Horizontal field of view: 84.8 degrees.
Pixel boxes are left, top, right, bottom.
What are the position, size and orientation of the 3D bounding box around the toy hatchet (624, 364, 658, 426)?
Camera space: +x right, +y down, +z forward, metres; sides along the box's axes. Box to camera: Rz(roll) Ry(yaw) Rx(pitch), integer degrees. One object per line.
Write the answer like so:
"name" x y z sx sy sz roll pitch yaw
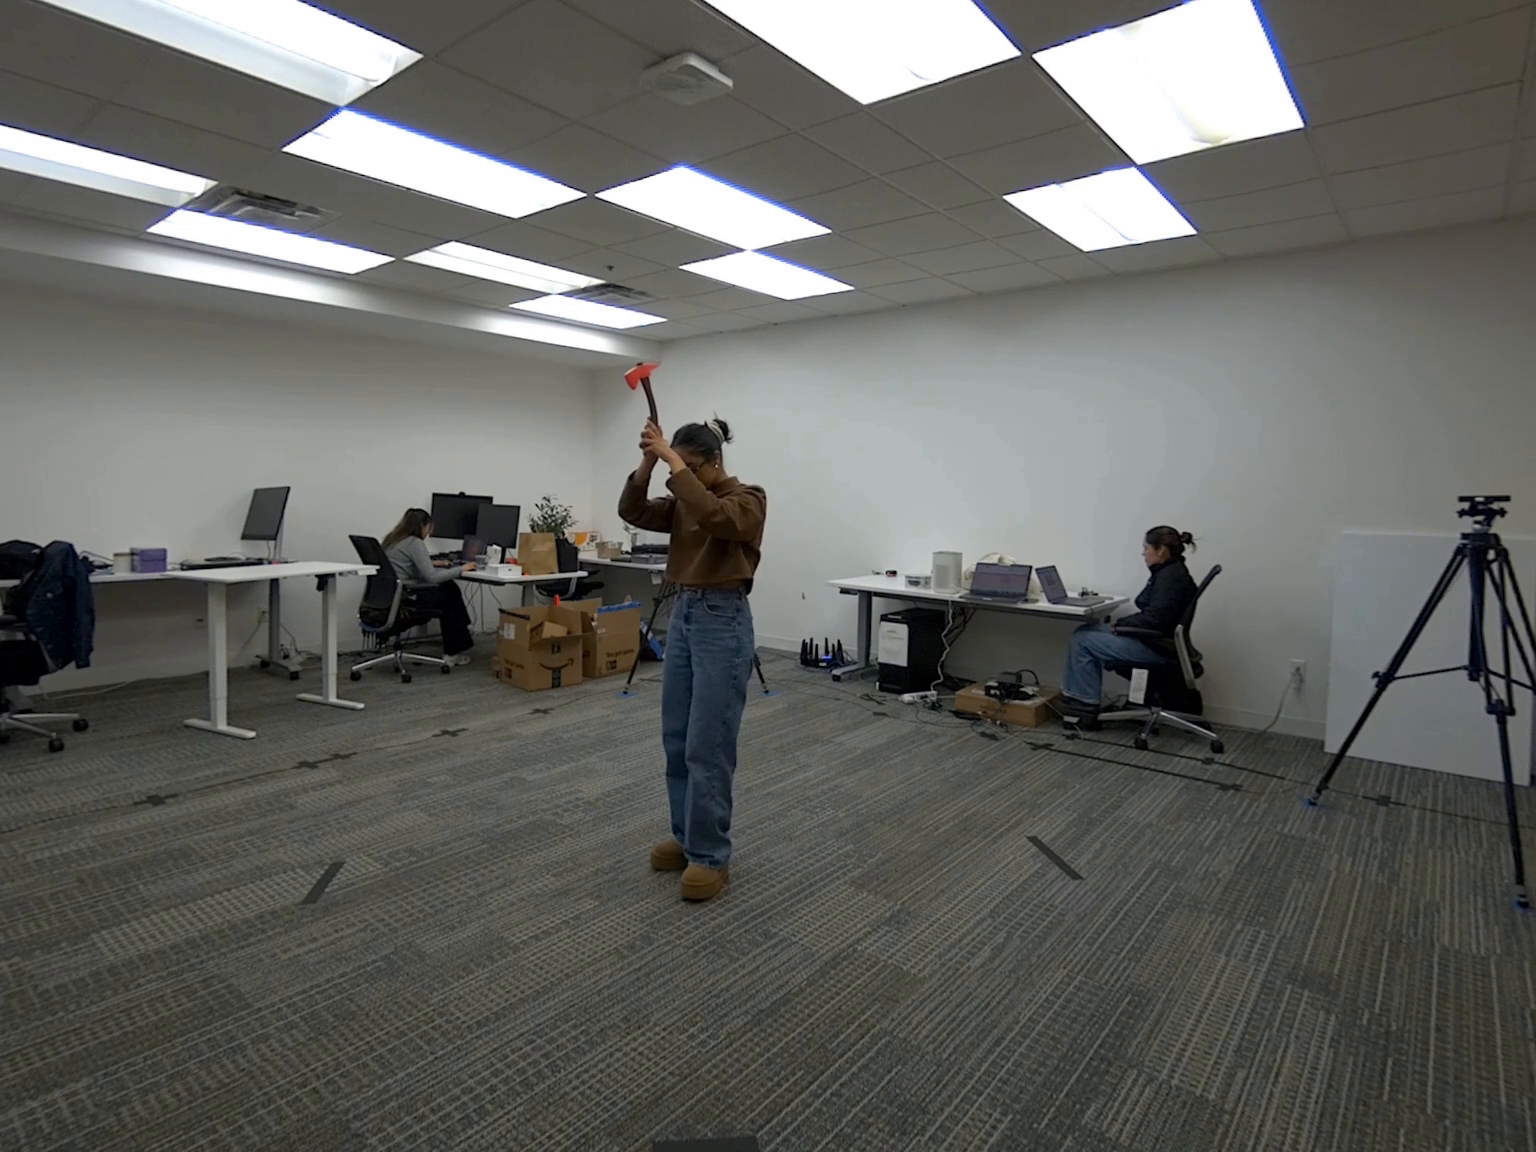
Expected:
"toy hatchet" -0.432 -0.592 2.872 0.128 0.268 0.030 -7 11 -33
